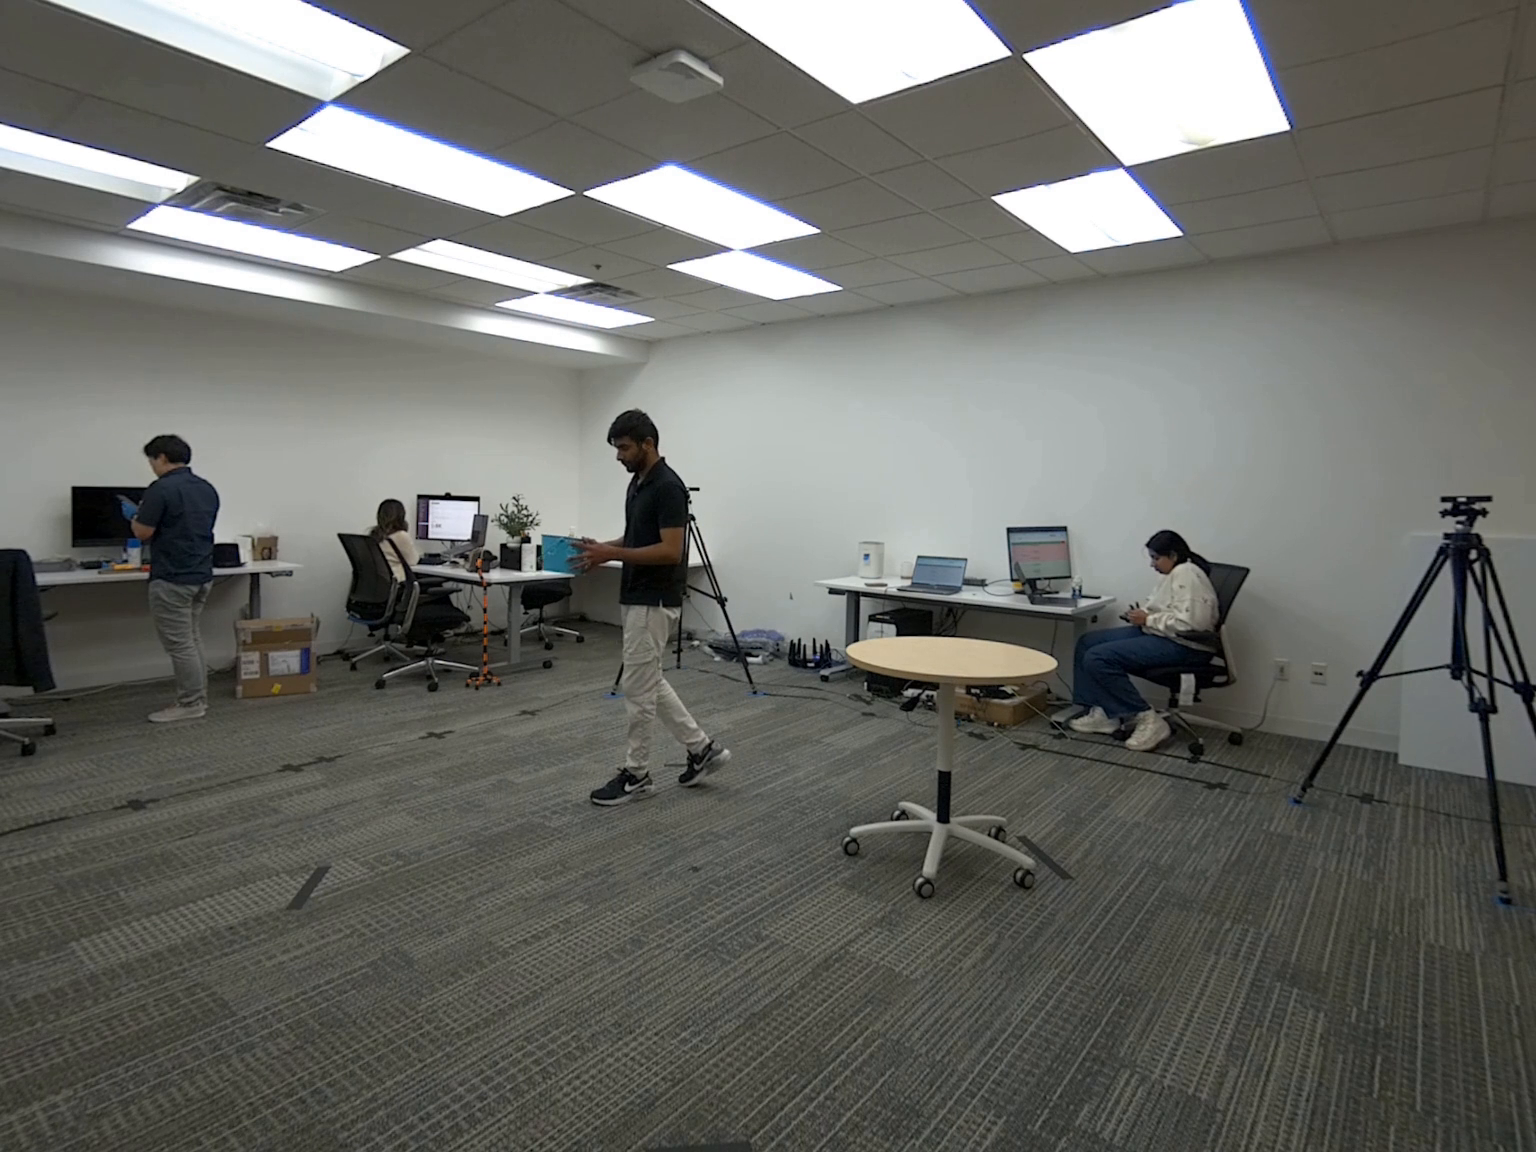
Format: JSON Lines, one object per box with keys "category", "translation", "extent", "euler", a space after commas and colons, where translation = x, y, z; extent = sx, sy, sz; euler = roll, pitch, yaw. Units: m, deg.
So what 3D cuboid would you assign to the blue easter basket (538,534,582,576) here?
{"category": "blue easter basket", "translation": [-0.877, -0.090, 3.640], "extent": [0.243, 0.156, 0.244], "euler": [7, 0, -2]}
